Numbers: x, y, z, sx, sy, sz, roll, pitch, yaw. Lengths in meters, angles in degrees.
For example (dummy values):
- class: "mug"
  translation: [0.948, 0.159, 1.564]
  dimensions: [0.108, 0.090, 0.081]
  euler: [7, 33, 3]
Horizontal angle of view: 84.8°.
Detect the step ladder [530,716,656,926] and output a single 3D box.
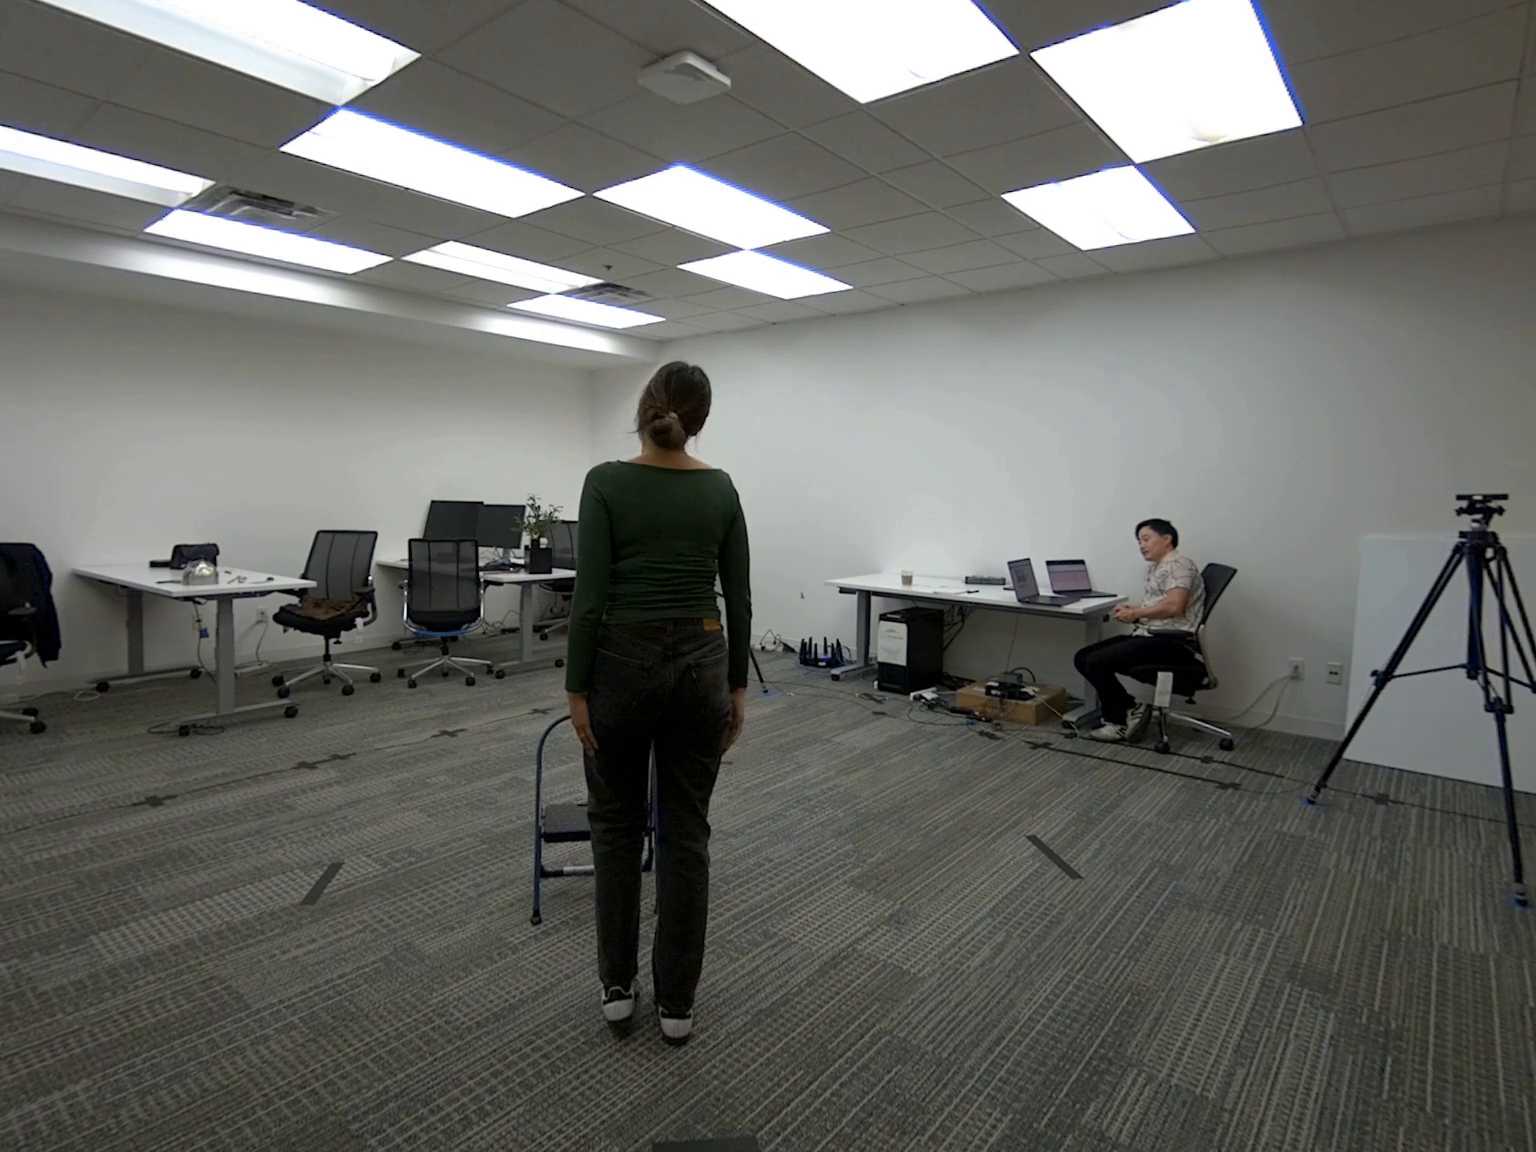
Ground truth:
- class: "step ladder"
  translation: [-0.592, 0.784, 2.888]
  dimensions: [0.425, 0.604, 0.355]
  euler: [0, 4, -13]
